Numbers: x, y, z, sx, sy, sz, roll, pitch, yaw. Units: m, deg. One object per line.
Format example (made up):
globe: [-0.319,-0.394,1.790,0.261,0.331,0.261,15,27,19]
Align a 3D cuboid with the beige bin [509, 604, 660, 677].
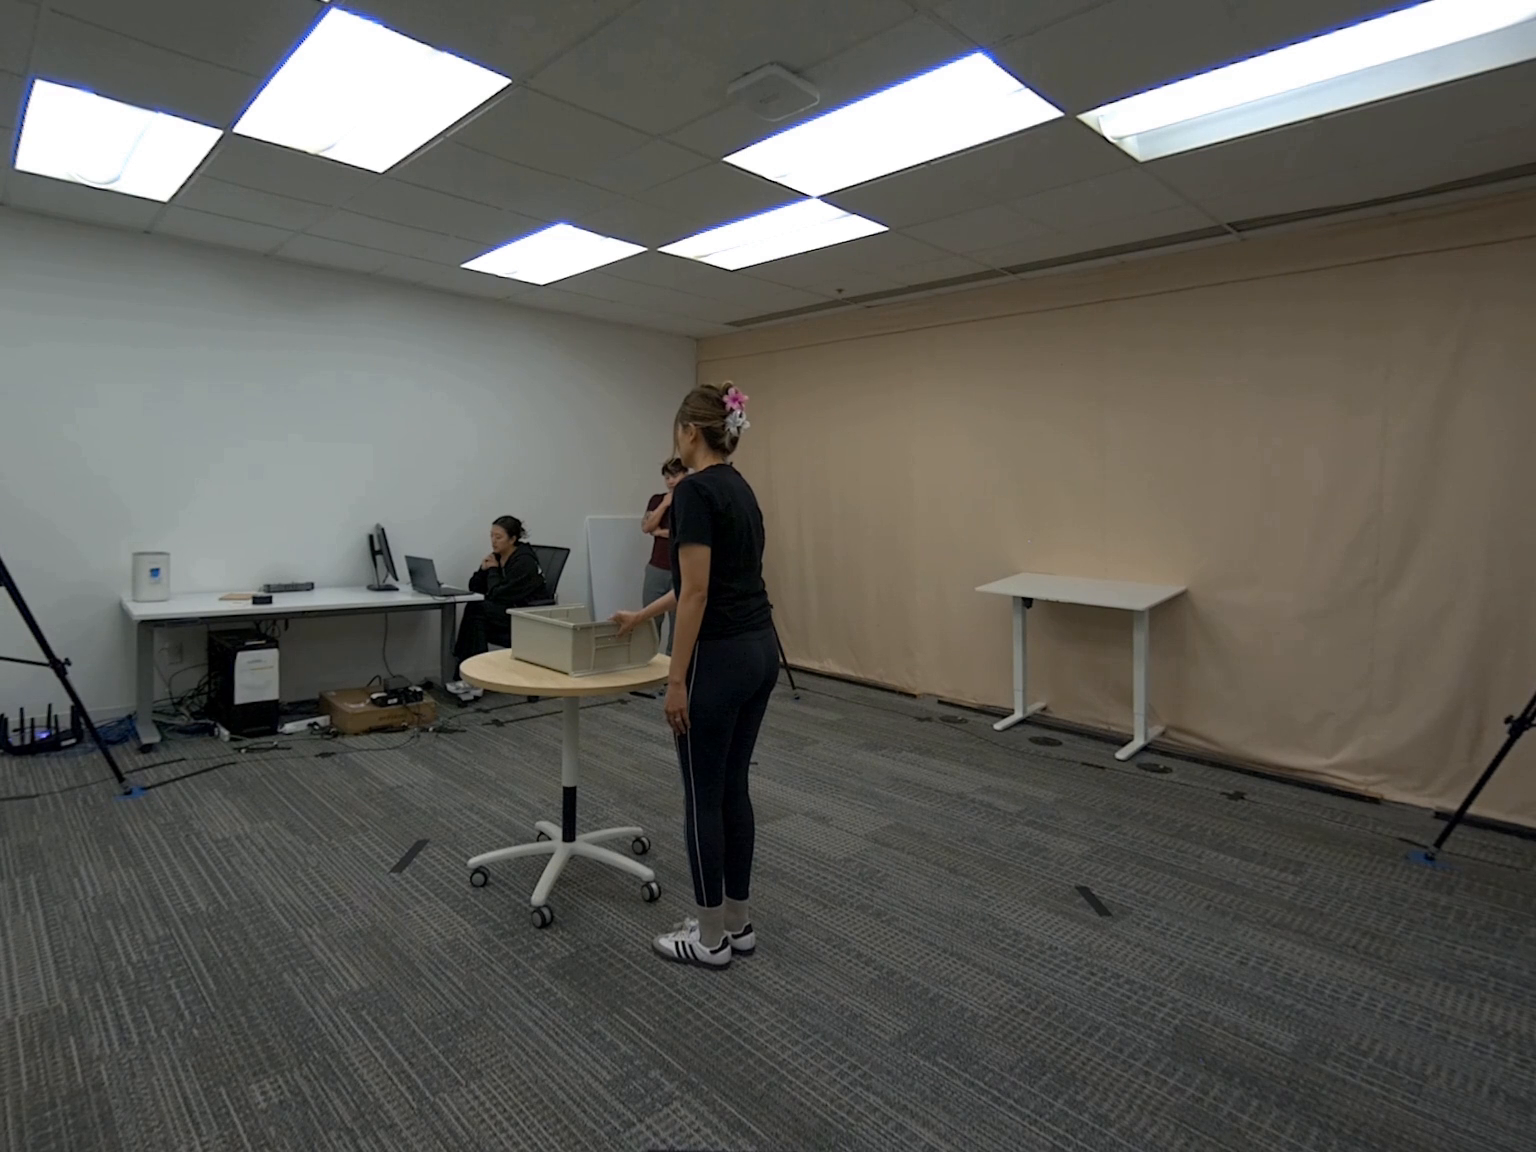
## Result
beige bin: [-0.675,0.222,3.042,0.433,0.188,0.369,7,9,44]
